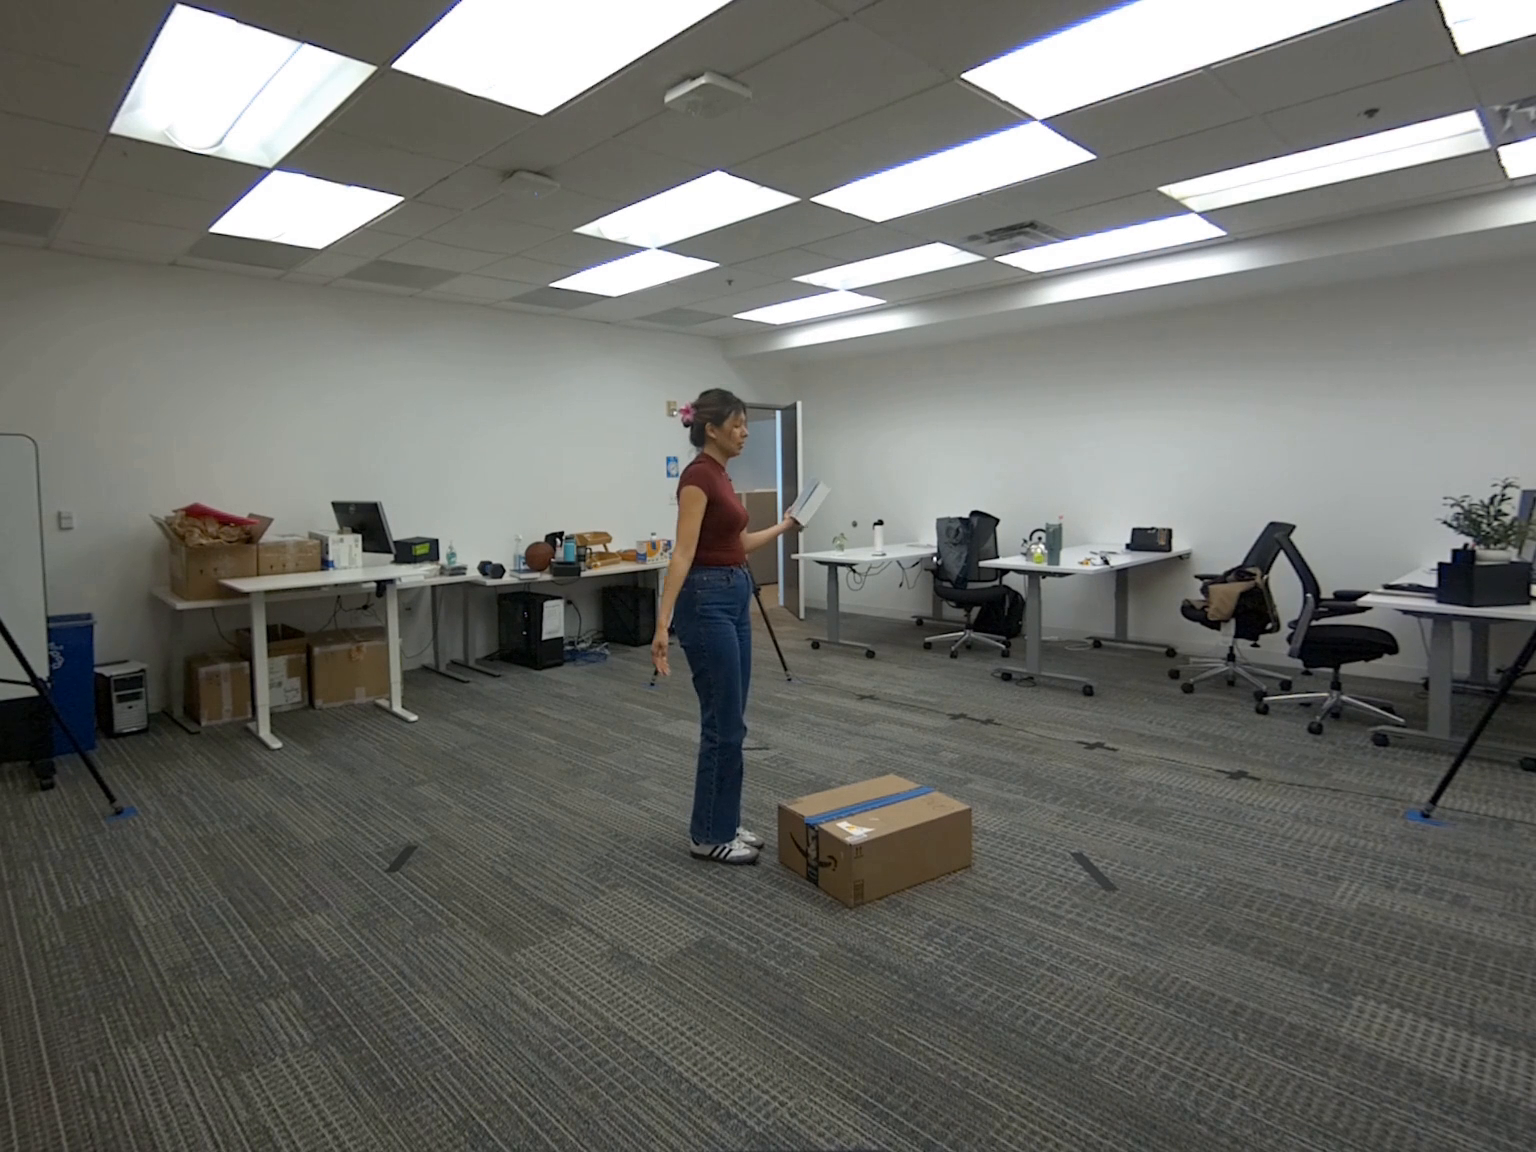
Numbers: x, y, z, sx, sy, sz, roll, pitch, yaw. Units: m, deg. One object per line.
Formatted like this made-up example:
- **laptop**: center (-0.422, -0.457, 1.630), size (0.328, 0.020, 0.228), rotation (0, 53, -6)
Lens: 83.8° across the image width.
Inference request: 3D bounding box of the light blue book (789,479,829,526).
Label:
- **light blue book**: center (0.170, -0.307, 3.544), size (0.058, 0.191, 0.264), rotation (31, 3, -9)
